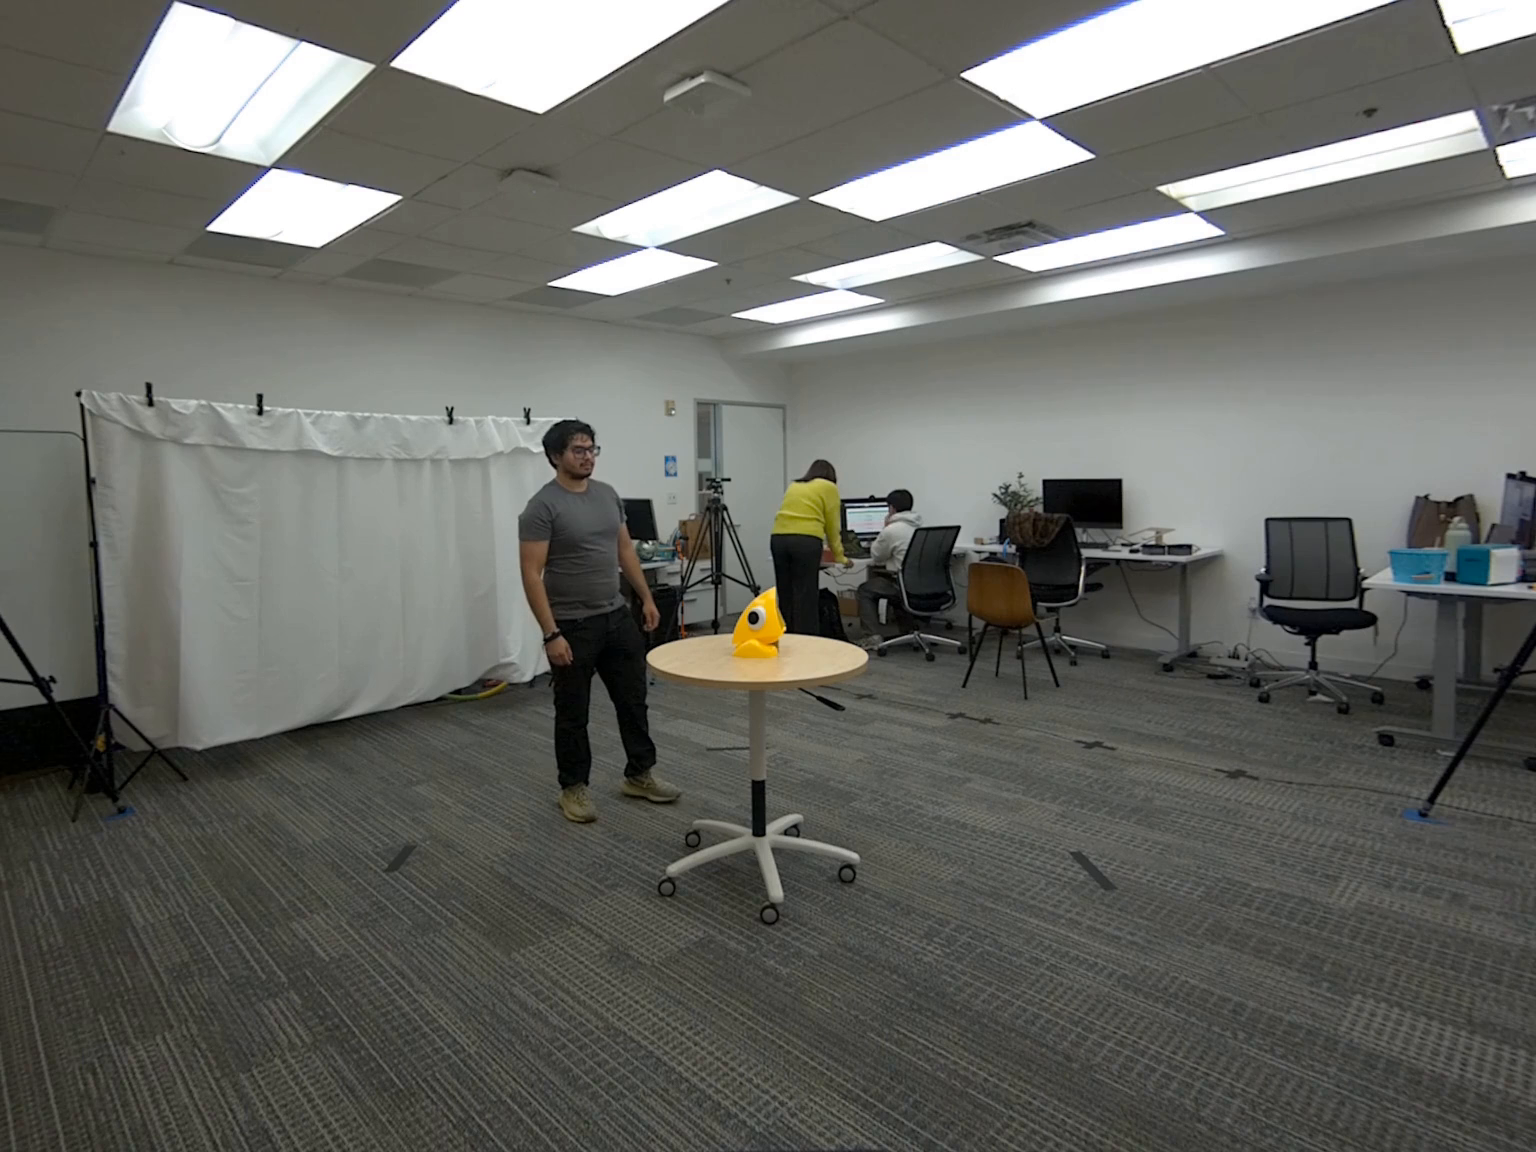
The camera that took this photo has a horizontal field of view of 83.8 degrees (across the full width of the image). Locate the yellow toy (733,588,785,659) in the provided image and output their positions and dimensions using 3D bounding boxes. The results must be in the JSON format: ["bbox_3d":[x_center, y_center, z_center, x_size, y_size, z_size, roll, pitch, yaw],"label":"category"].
[{"bbox_3d":[-0.030,0.153,3.005,0.194,0.230,0.205,-1,5,4],"label":"yellow toy"}]
